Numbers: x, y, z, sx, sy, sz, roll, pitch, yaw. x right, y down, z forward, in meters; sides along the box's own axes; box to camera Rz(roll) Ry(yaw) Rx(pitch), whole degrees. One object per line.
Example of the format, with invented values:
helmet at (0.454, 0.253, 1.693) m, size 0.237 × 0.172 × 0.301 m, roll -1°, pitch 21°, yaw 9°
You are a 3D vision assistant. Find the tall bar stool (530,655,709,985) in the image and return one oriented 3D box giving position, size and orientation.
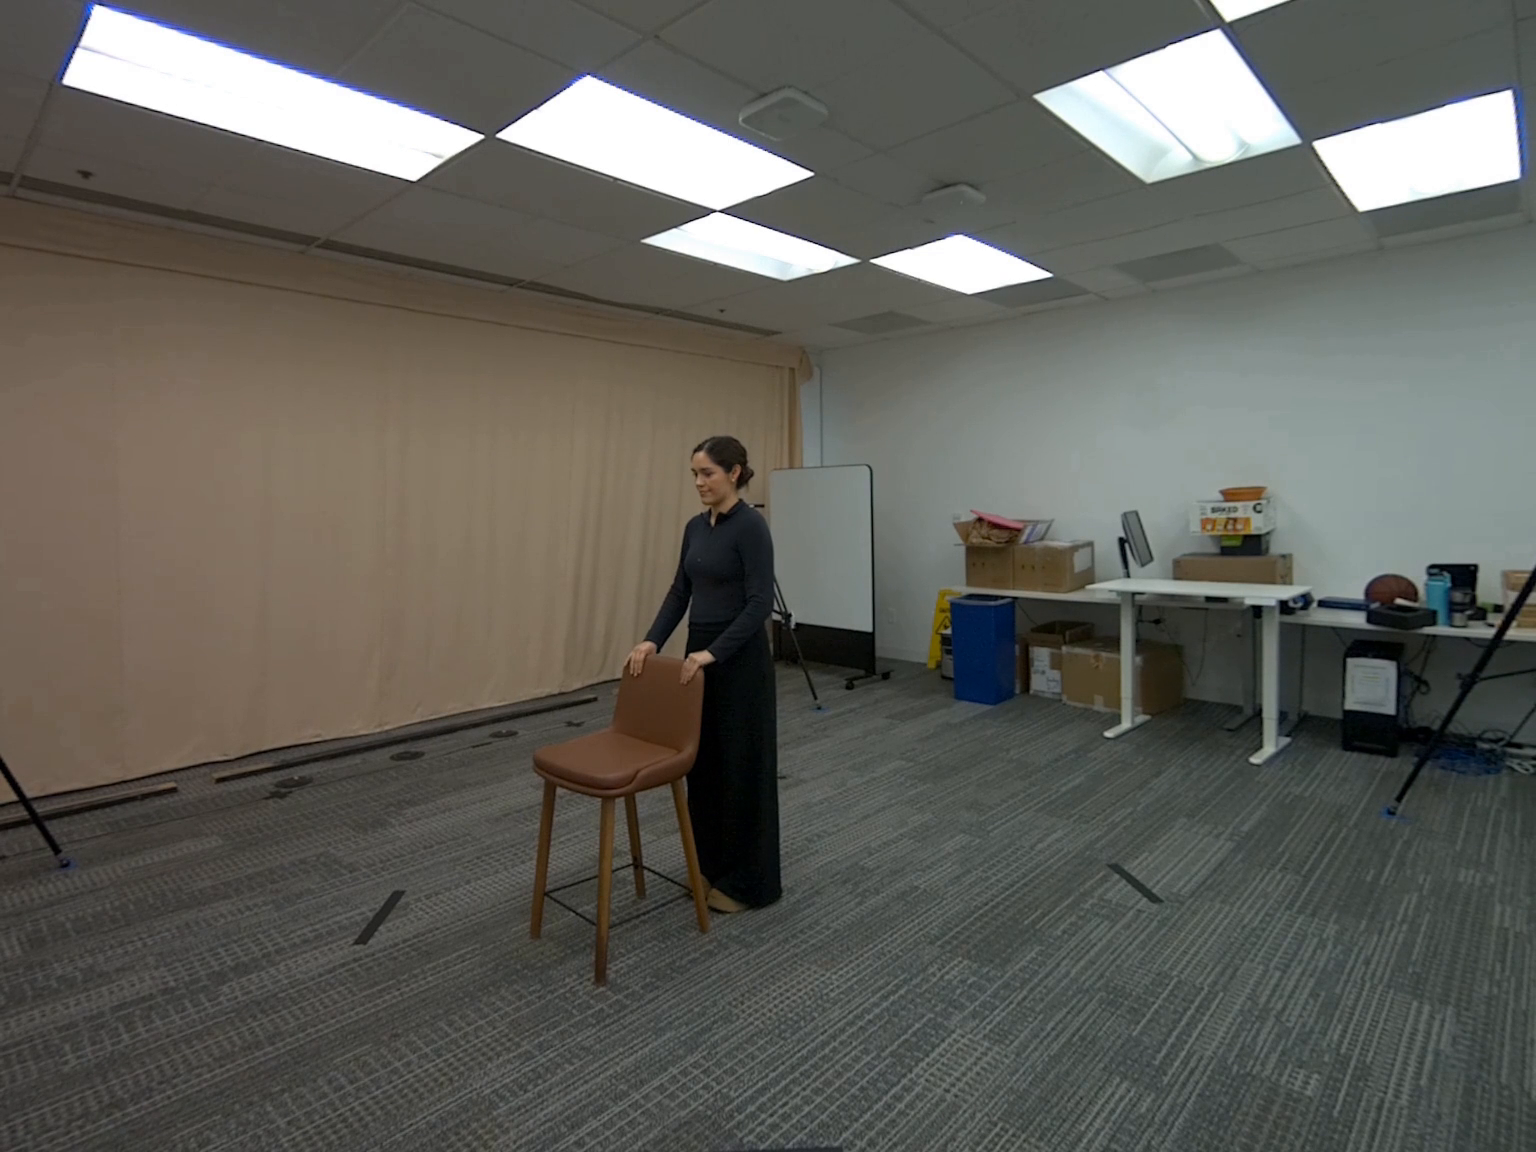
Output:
tall bar stool at (-0.477, 0.733, 2.727) m, size 0.453 × 0.889 × 0.472 m, roll -1°, pitch 2°, yaw -44°
